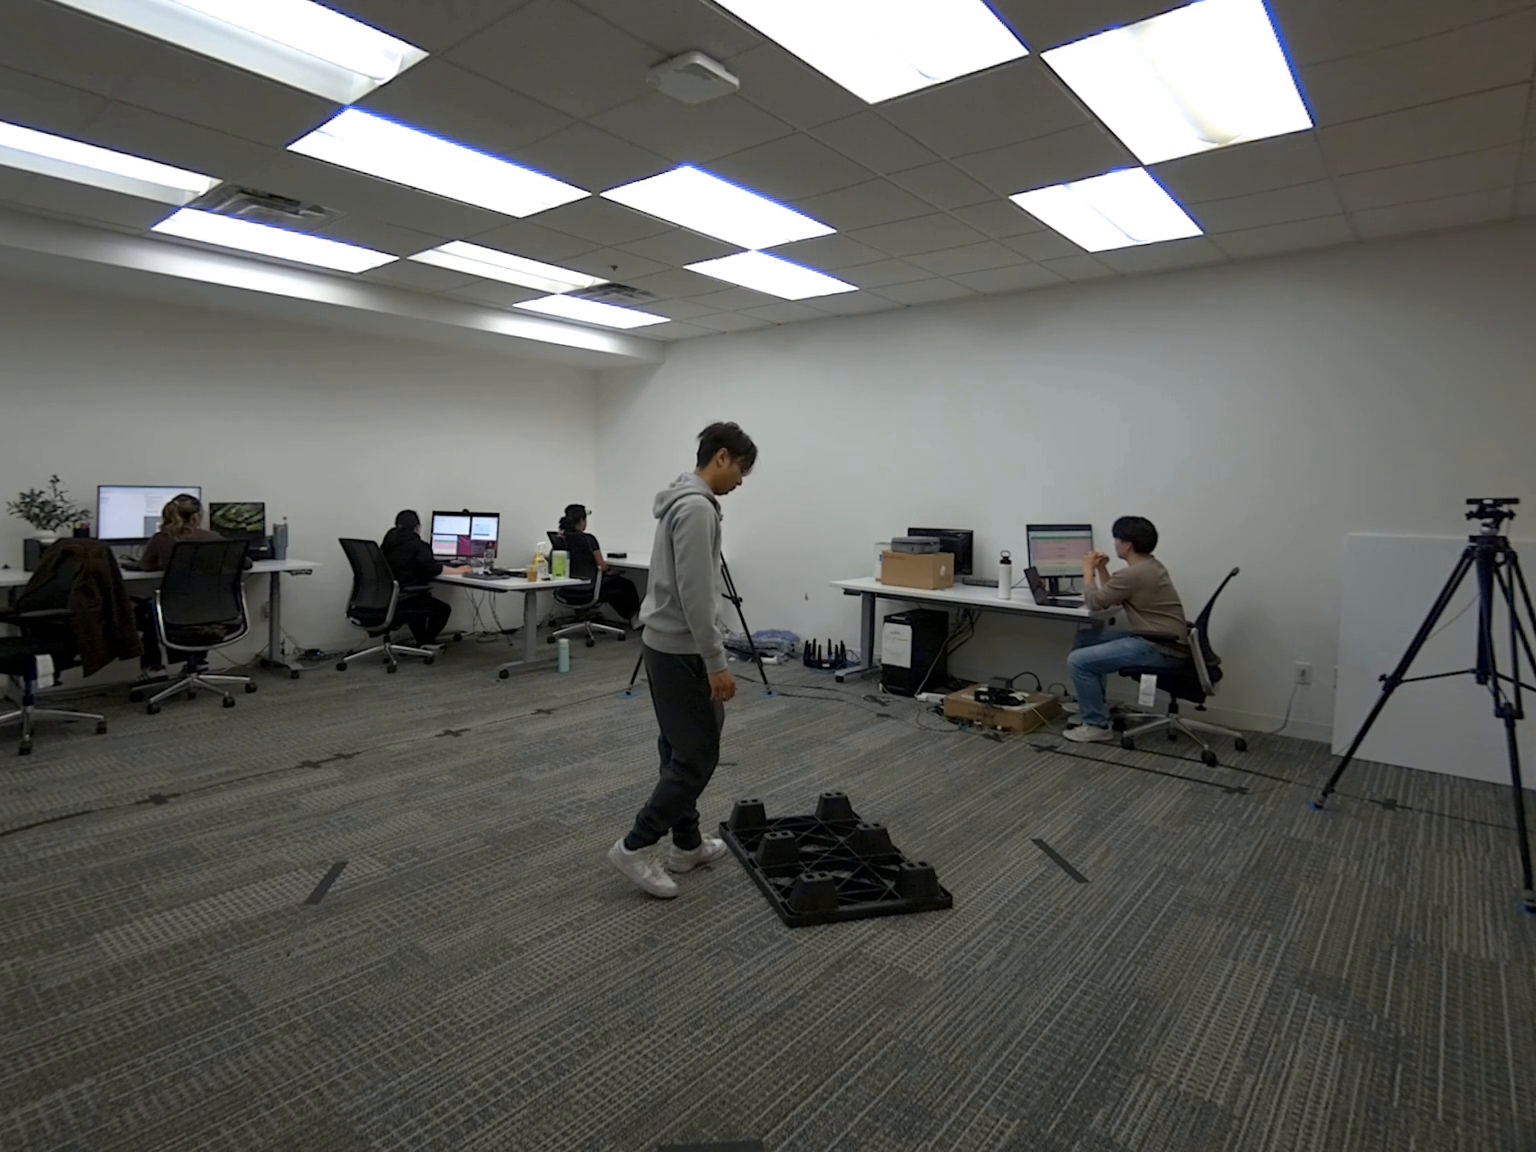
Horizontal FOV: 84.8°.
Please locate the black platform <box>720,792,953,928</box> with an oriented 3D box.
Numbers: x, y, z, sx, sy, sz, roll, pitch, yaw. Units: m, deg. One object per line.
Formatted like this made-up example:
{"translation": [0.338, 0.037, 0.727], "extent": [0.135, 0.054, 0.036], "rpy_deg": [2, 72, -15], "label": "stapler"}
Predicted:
{"translation": [0.200, 1.004, 3.151], "extent": [0.594, 0.143, 0.824], "rpy_deg": [0, 6, -19], "label": "black platform"}
